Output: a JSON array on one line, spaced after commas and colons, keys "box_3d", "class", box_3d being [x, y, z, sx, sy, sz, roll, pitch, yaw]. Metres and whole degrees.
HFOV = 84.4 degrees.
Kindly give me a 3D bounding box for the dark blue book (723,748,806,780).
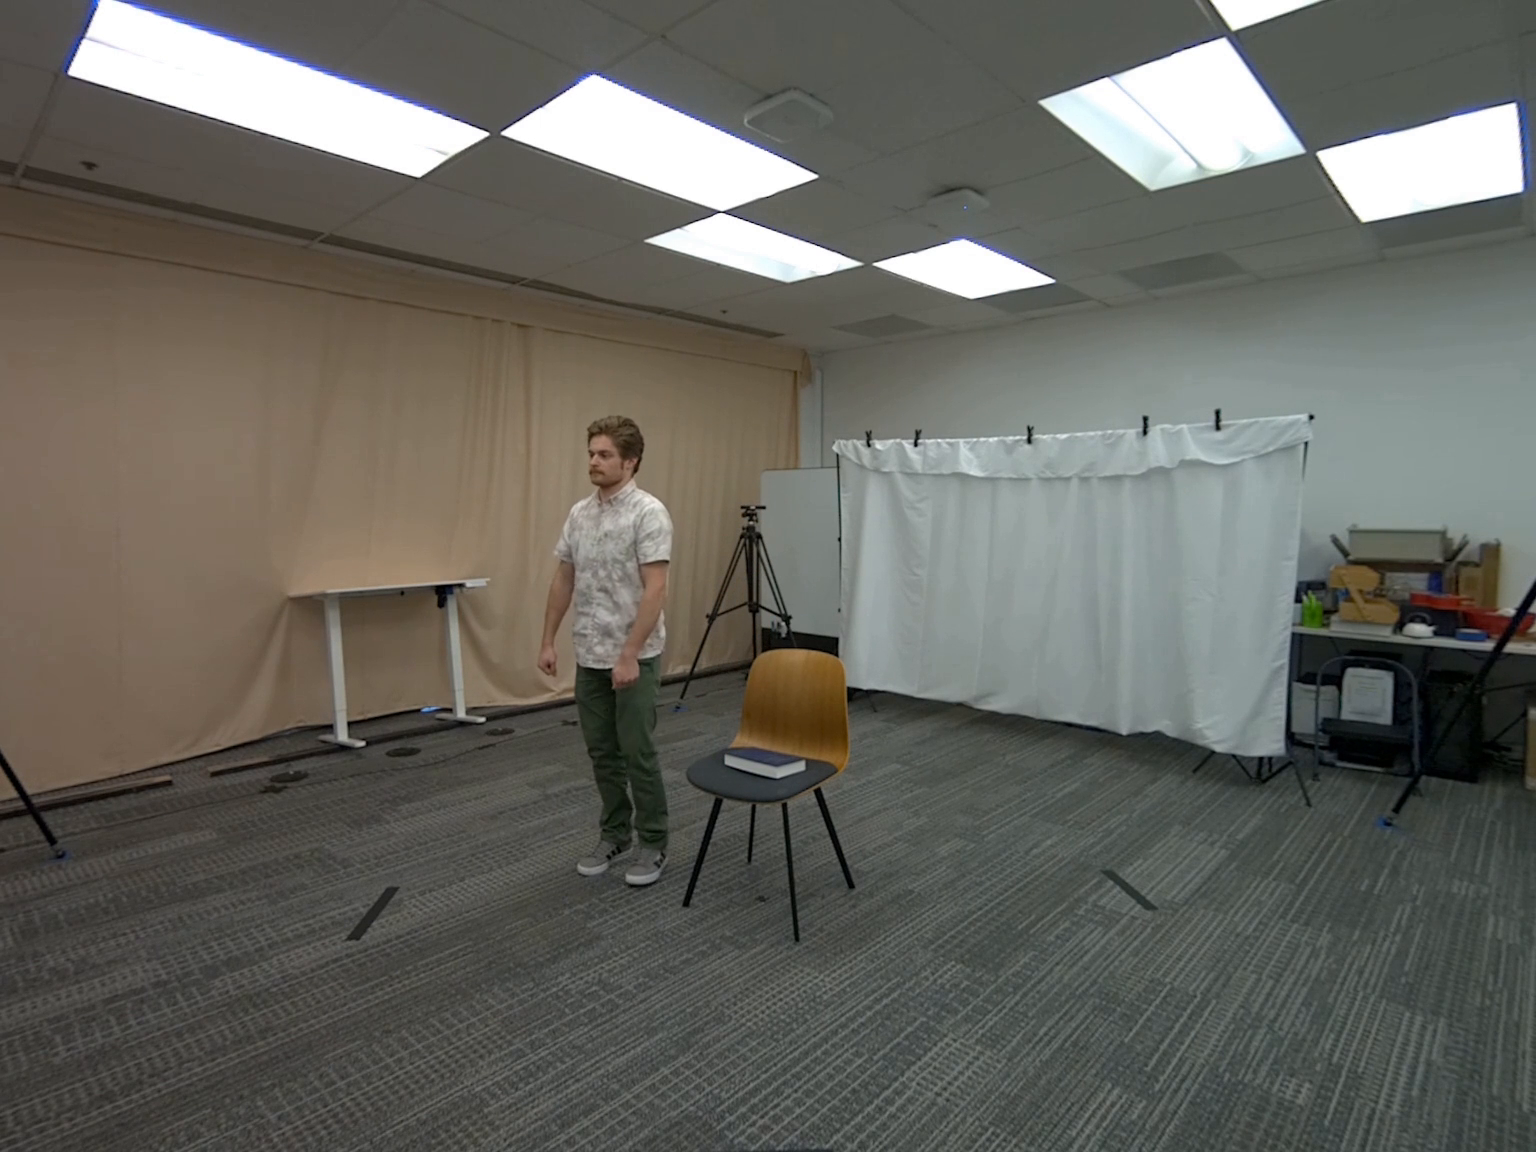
[{"box_3d": [-0.008, 0.641, 2.925, 0.253, 0.045, 0.158, 3, 3, 41], "class": "dark blue book"}]
